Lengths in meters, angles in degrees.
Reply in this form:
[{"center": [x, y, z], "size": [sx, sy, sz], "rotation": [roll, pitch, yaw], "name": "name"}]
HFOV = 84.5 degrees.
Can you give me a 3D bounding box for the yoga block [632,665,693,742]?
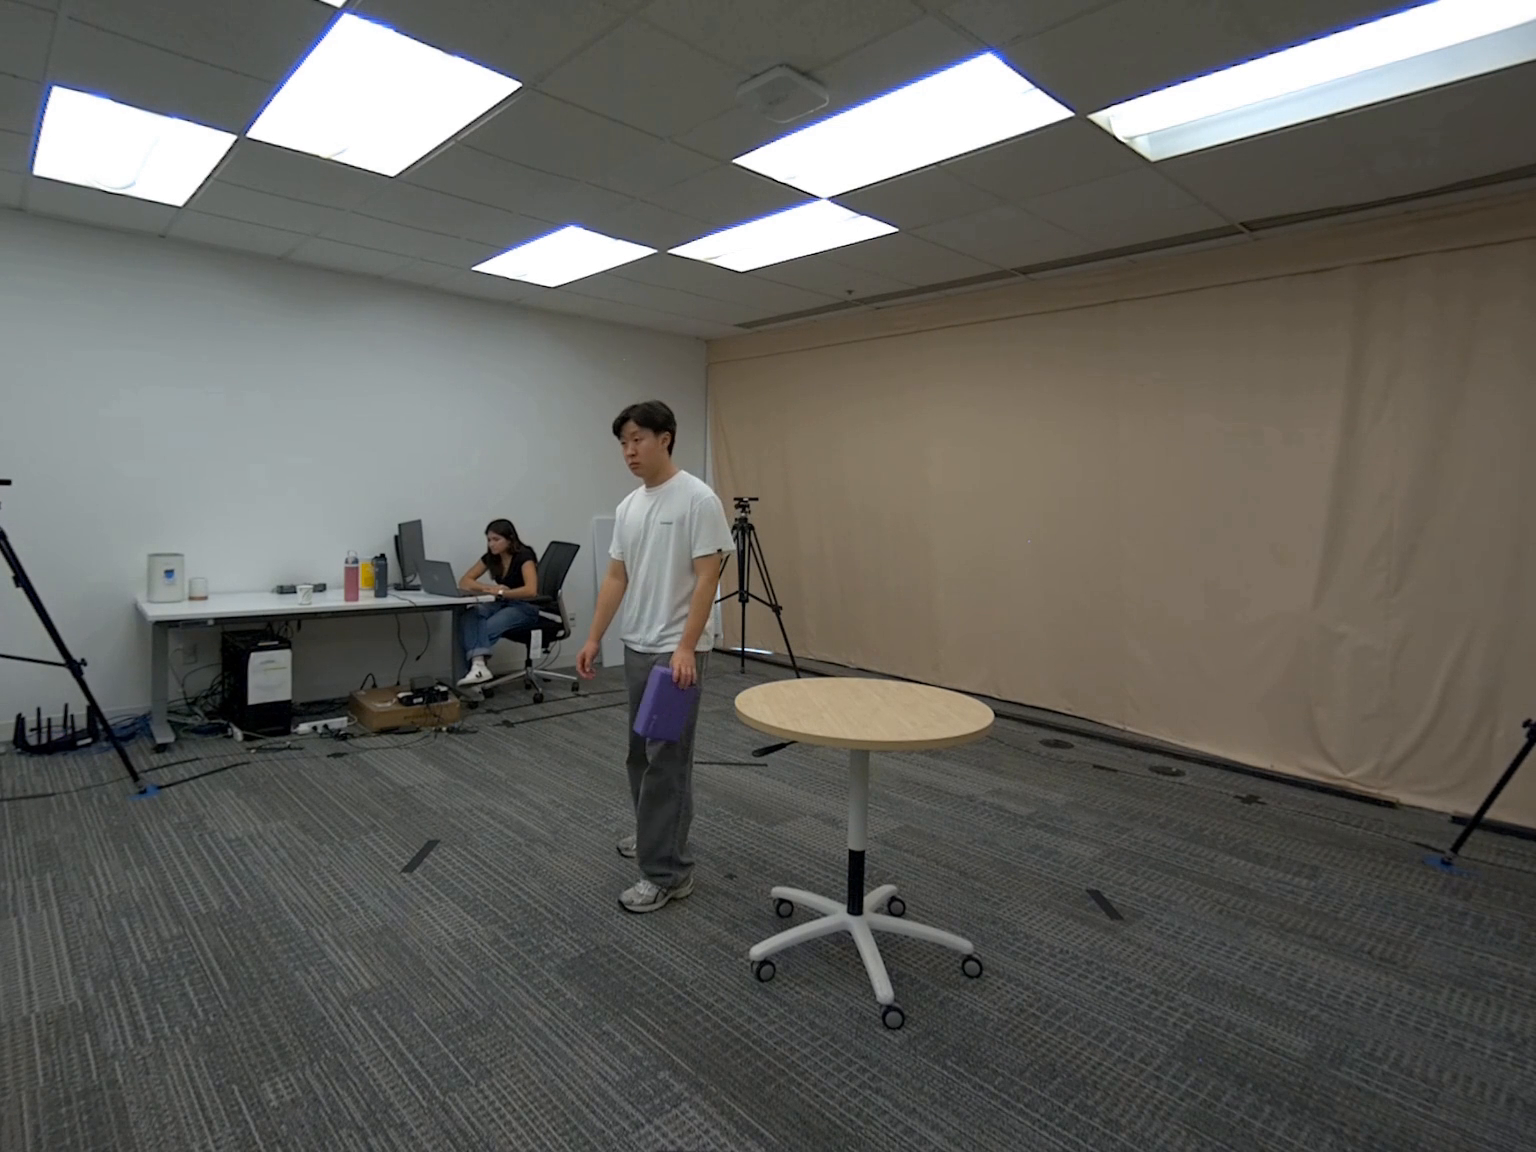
[{"center": [-0.349, 0.429, 2.821], "size": [0.145, 0.229, 0.078], "rotation": [17, -3, -37], "name": "yoga block"}]
